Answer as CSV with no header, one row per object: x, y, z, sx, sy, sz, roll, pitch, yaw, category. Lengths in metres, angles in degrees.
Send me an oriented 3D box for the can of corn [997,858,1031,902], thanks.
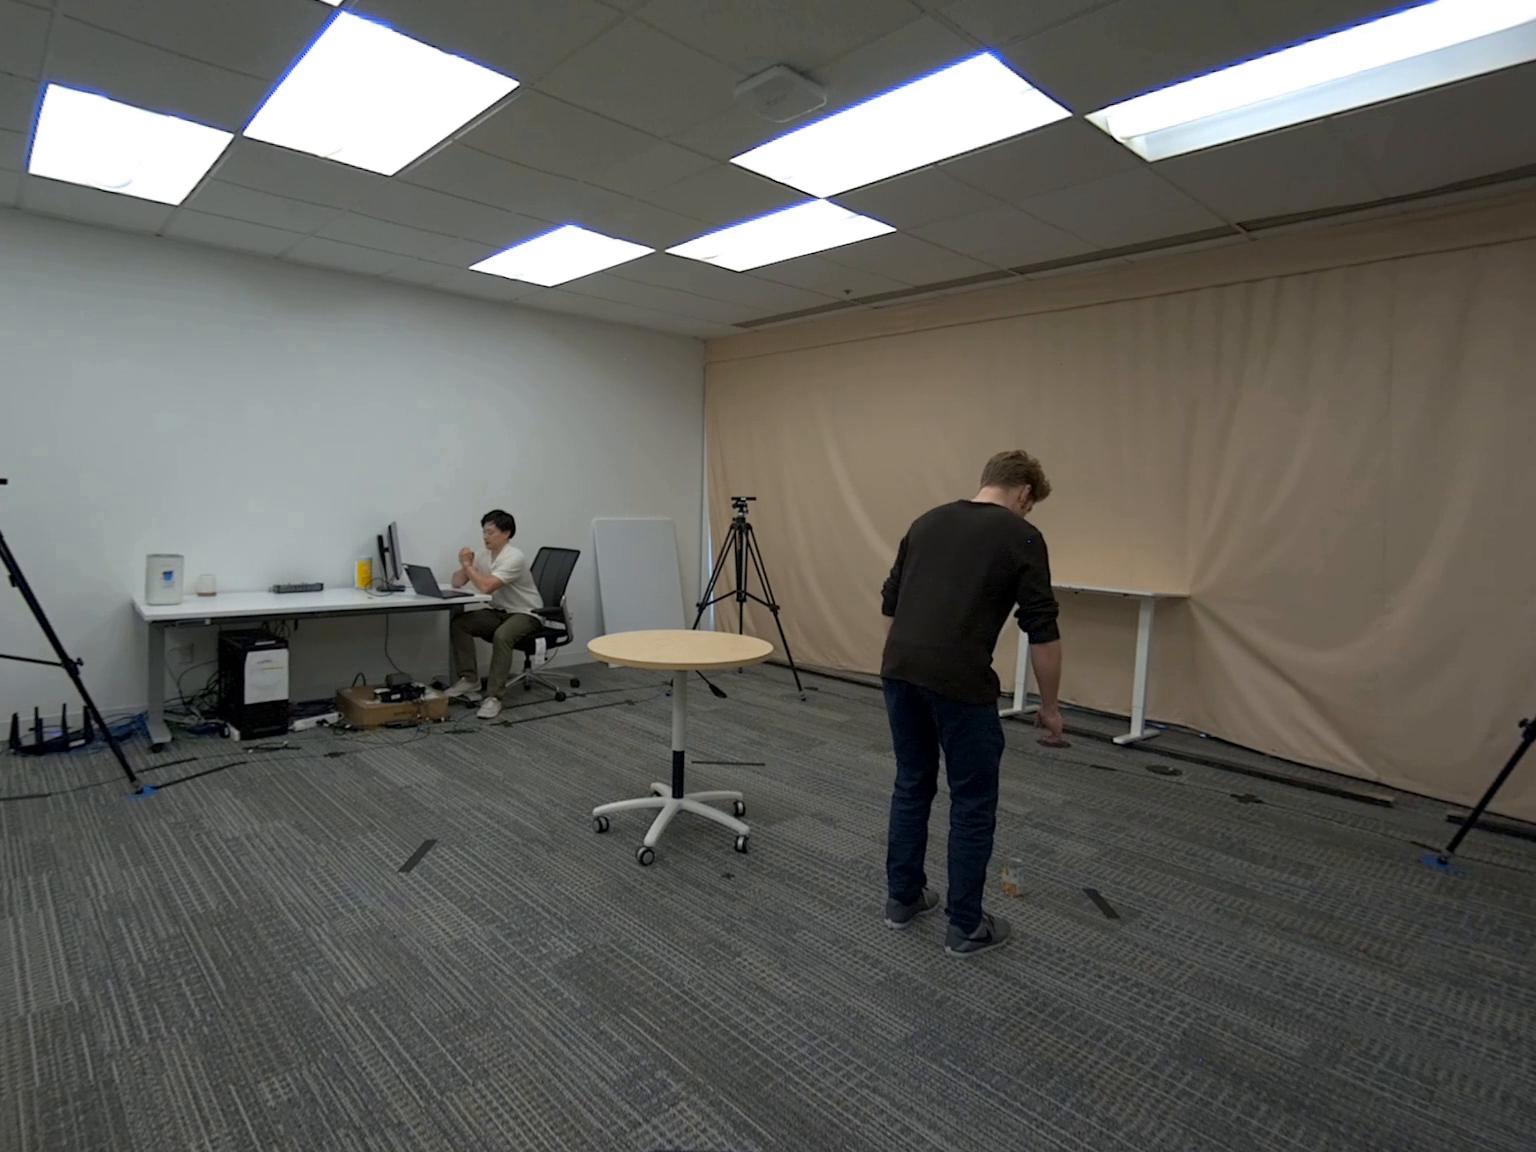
0.878,1.087,3.032,0.074,0.111,0.074,9,5,-2,can of corn
